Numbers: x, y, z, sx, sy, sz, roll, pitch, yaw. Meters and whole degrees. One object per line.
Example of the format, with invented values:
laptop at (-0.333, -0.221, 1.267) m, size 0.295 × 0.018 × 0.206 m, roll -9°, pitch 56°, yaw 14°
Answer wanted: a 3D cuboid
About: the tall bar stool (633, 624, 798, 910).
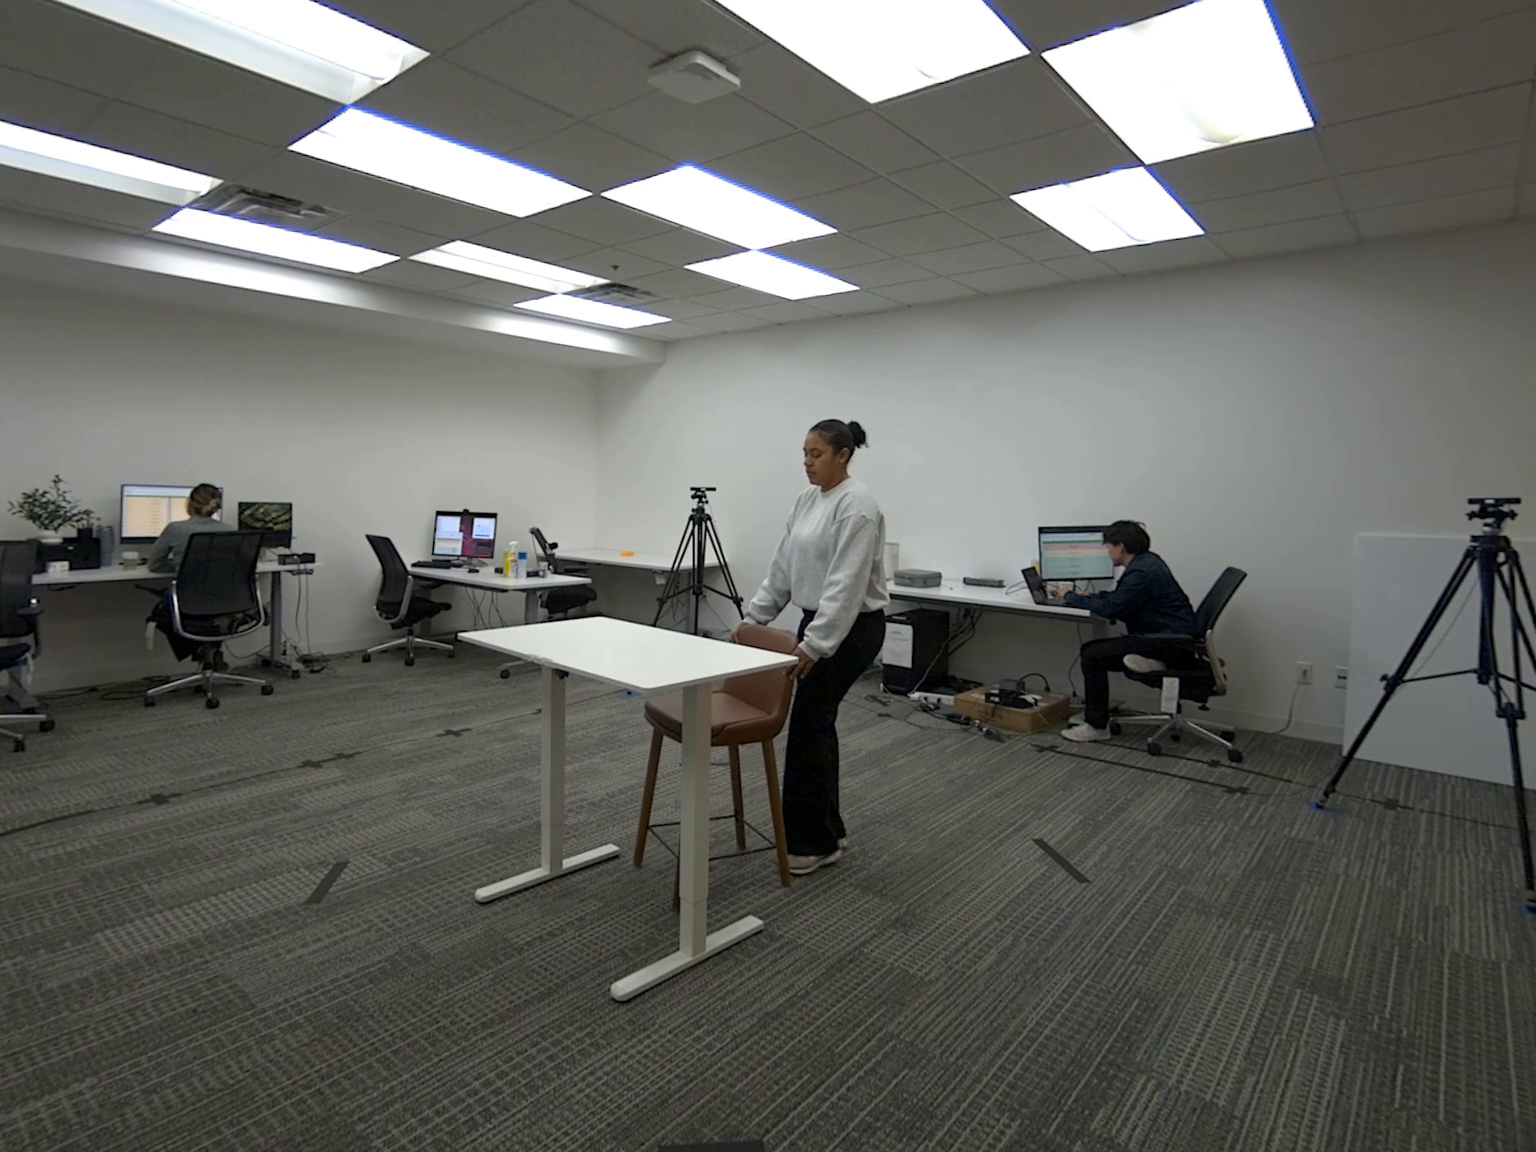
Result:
tall bar stool at (-0.194, 0.636, 3.026) m, size 0.455 × 0.888 × 0.470 m, roll 3°, pitch 2°, yaw -28°
